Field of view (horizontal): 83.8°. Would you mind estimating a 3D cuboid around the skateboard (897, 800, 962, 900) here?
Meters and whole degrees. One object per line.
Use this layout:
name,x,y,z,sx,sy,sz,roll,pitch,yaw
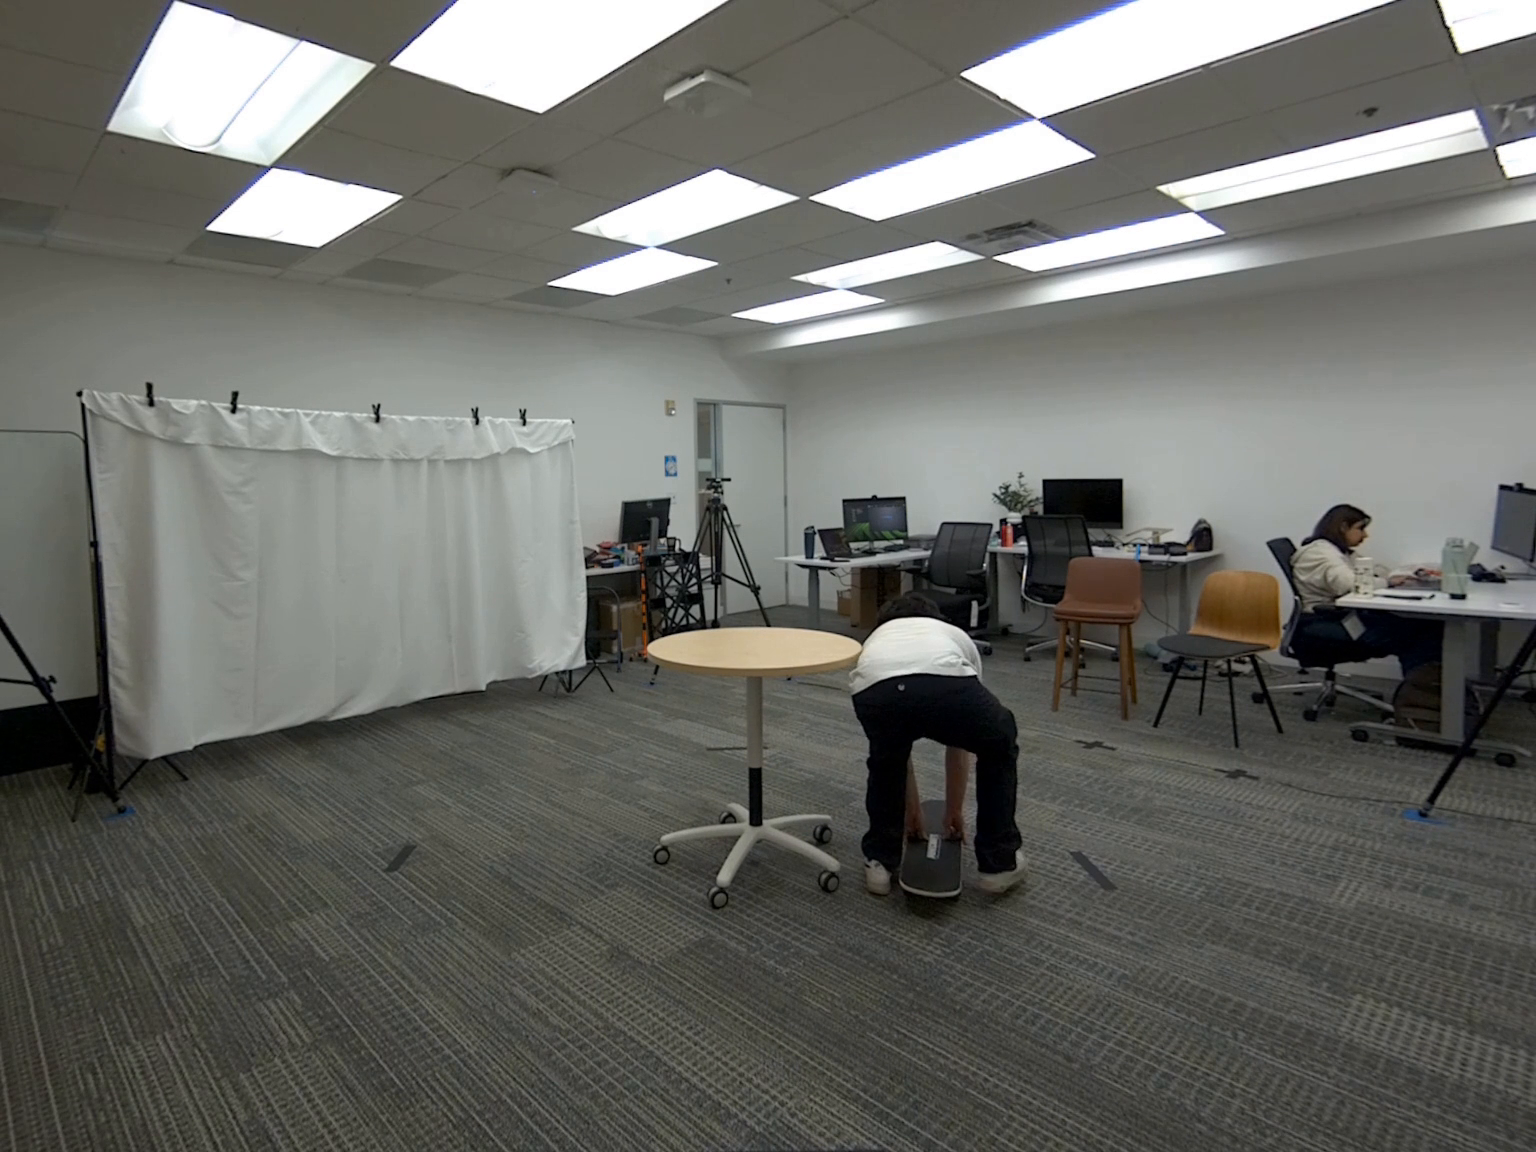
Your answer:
skateboard,0.589,0.986,3.017,0.196,0.110,0.778,0,7,13
